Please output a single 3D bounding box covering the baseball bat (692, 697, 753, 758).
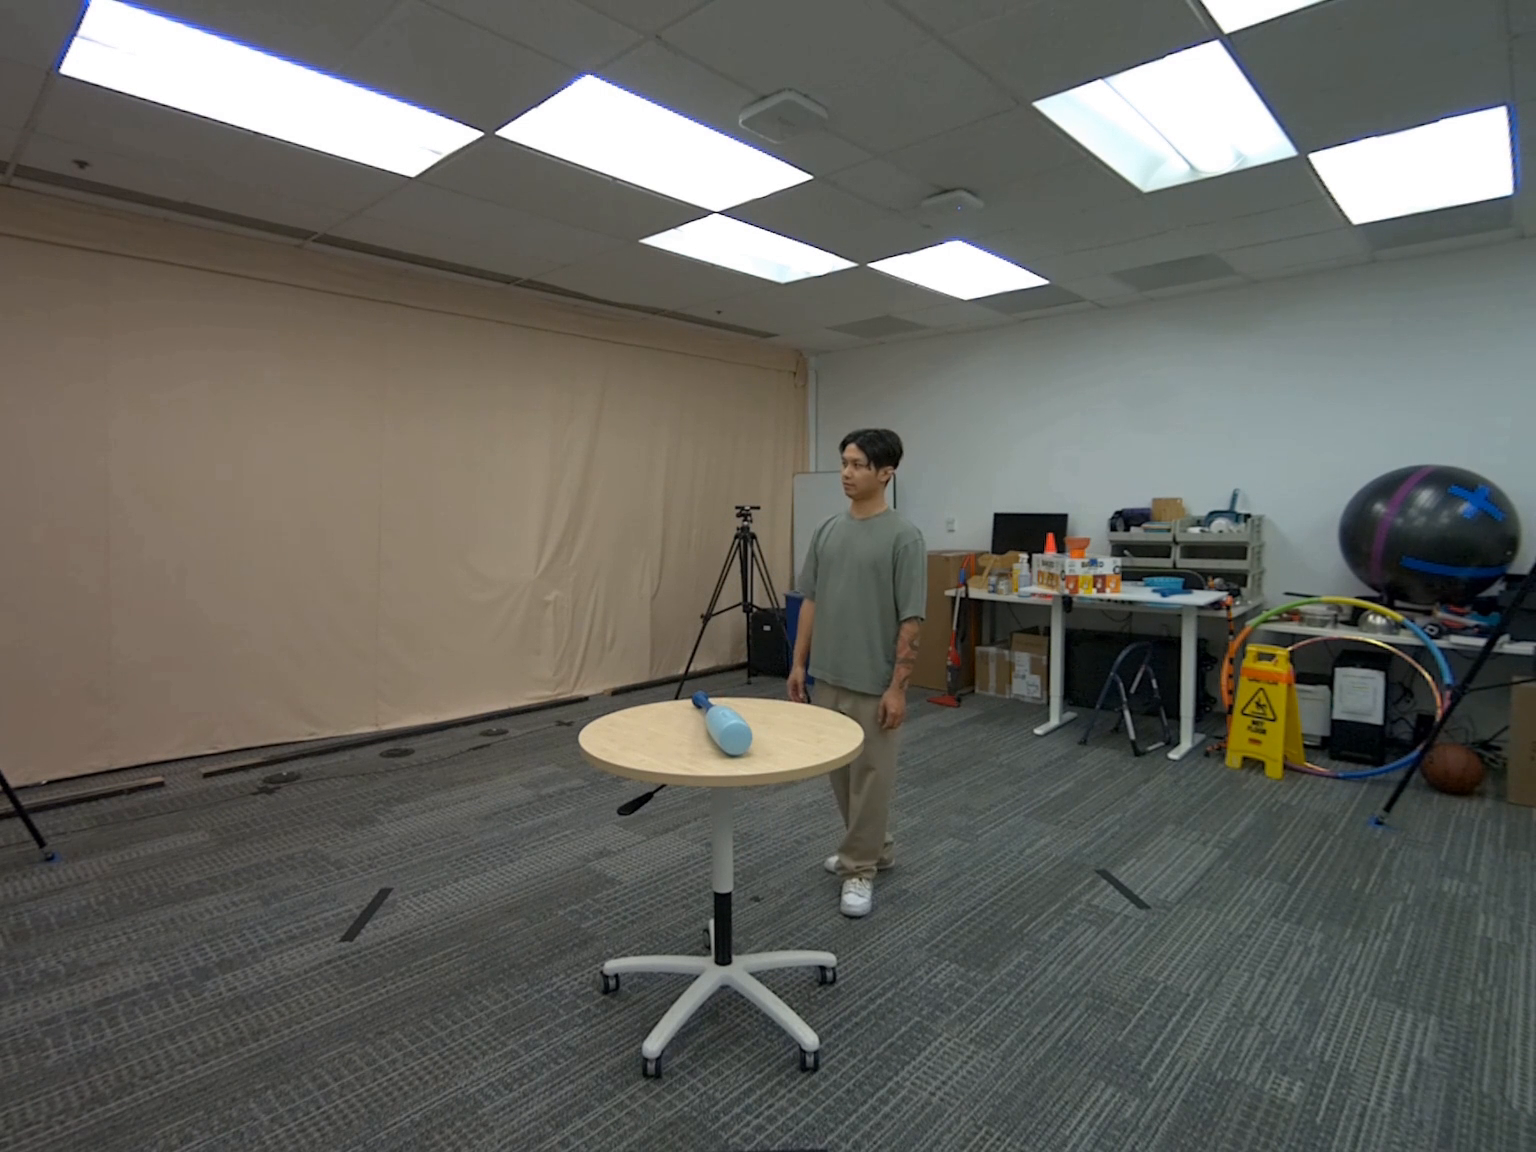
[{"bbox_3d":[-0.142,0.384,2.278,0.088,0.089,0.552,-1,2,-16],"label":"baseball bat"}]
